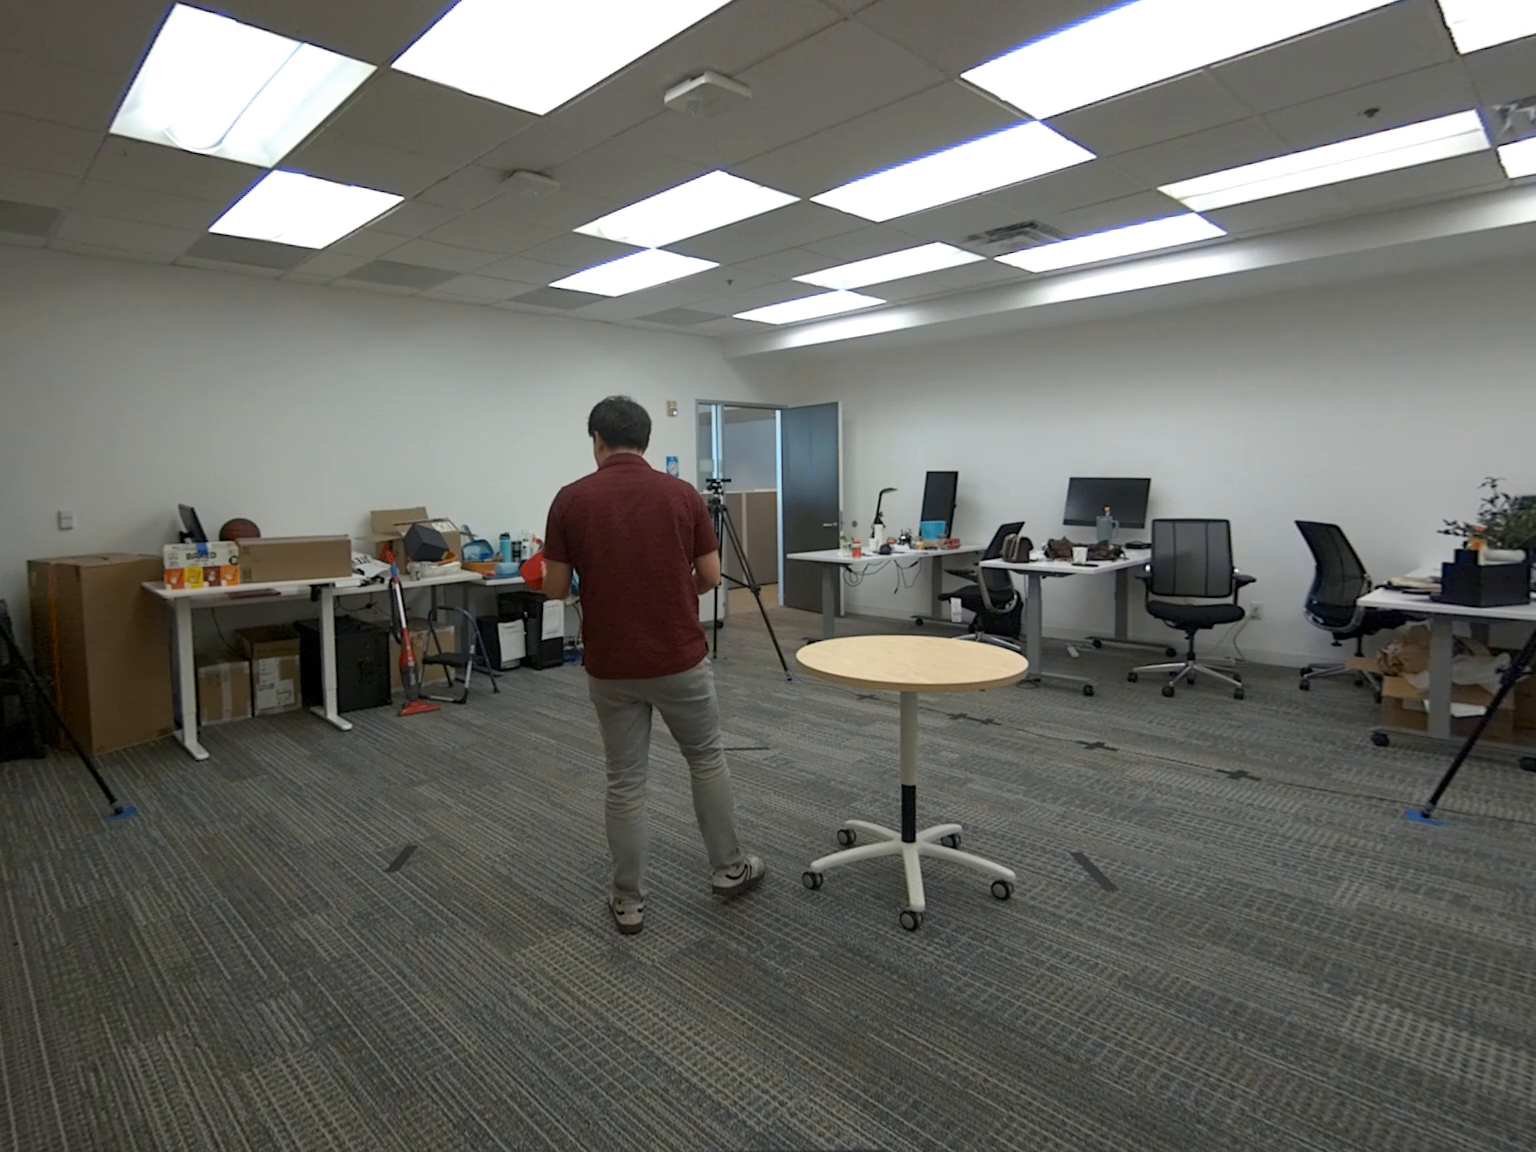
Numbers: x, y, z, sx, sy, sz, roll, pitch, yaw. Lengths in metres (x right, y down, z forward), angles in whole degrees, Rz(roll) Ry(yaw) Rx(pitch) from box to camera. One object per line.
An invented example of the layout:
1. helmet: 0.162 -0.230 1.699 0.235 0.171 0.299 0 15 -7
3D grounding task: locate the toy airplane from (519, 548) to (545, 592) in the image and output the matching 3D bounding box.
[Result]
1. toy airplane: -0.704 -0.029 3.042 0.266 0.253 0.151 17 -30 25
